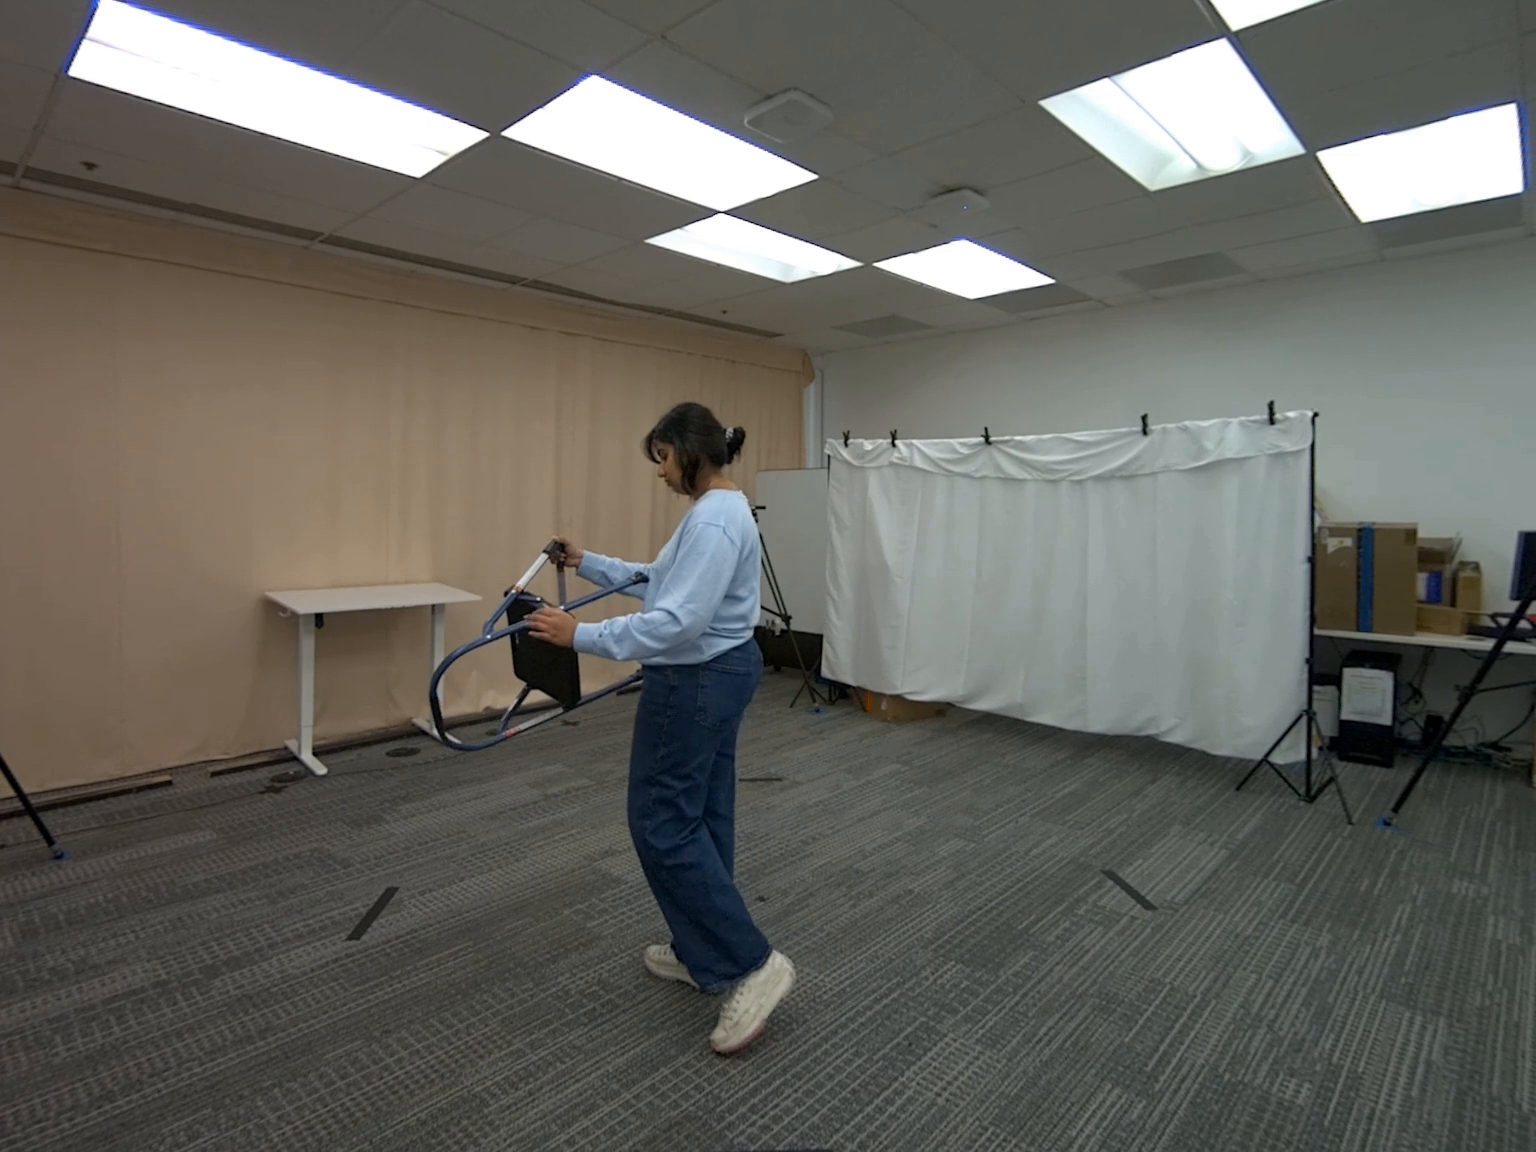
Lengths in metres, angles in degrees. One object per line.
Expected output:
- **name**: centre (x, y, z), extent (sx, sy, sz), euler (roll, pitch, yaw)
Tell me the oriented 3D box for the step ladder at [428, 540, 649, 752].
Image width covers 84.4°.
- **step ladder**: centre (-0.656, 0.249, 2.409), extent (0.359, 0.423, 0.599), euler (21, 40, 24)
